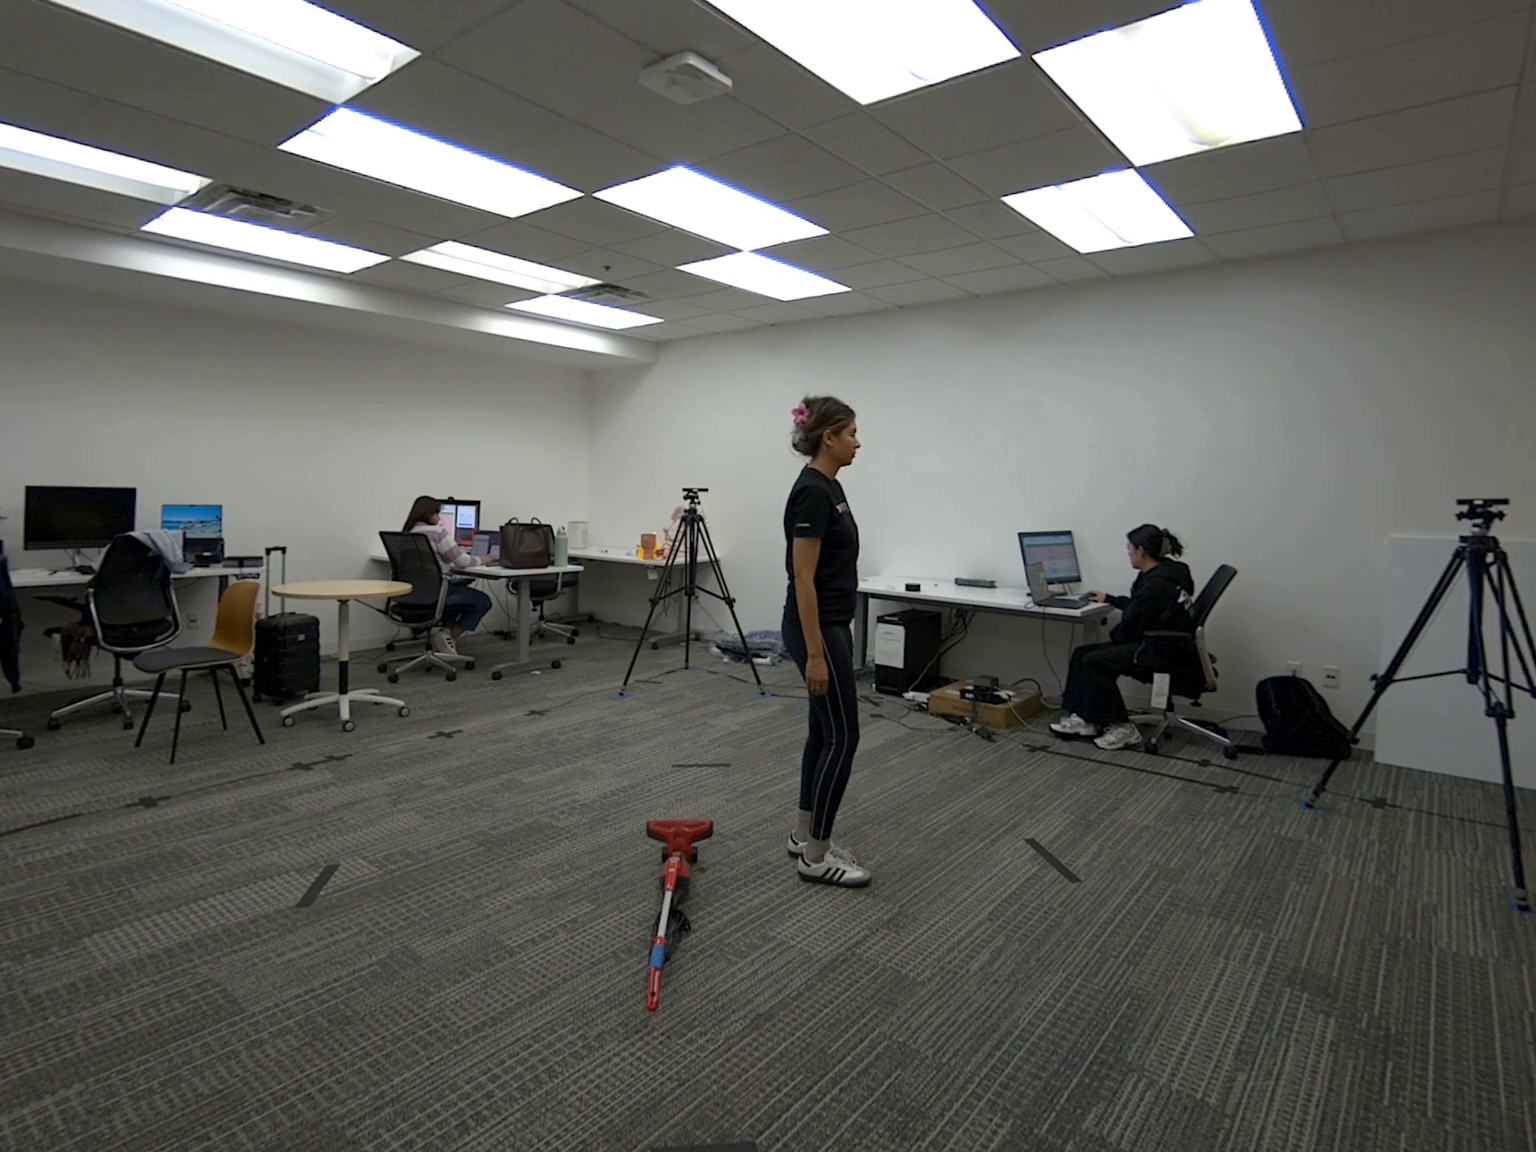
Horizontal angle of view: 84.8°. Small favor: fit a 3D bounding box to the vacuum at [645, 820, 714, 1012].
[{"bbox_3d":[-0.313,1.049,2.681,0.252,0.143,1.057,-3,7,-3],"label":"vacuum"}]
